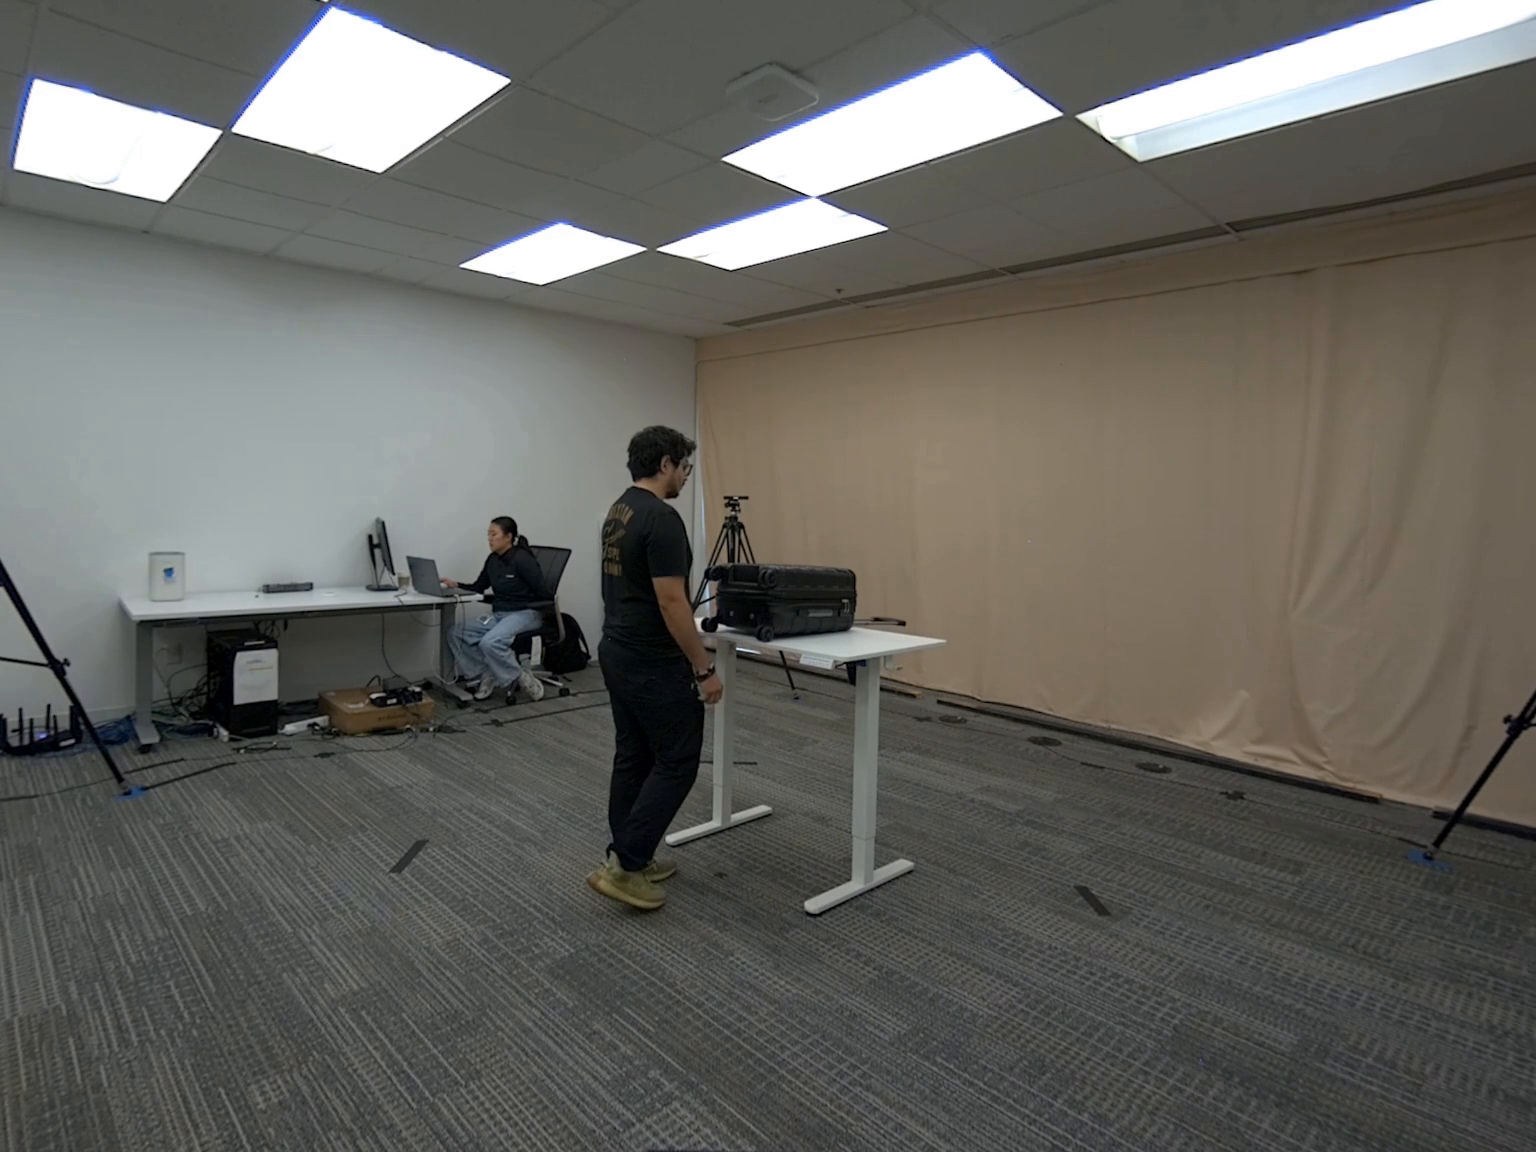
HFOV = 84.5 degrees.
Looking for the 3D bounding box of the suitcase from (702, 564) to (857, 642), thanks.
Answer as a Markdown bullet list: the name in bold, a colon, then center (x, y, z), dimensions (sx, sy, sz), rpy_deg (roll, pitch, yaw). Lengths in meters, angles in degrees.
- **suitcase**: center (0.204, 0.087, 3.378), dimensions (0.955, 0.257, 0.393), rpy_deg (-1, 3, -45)
